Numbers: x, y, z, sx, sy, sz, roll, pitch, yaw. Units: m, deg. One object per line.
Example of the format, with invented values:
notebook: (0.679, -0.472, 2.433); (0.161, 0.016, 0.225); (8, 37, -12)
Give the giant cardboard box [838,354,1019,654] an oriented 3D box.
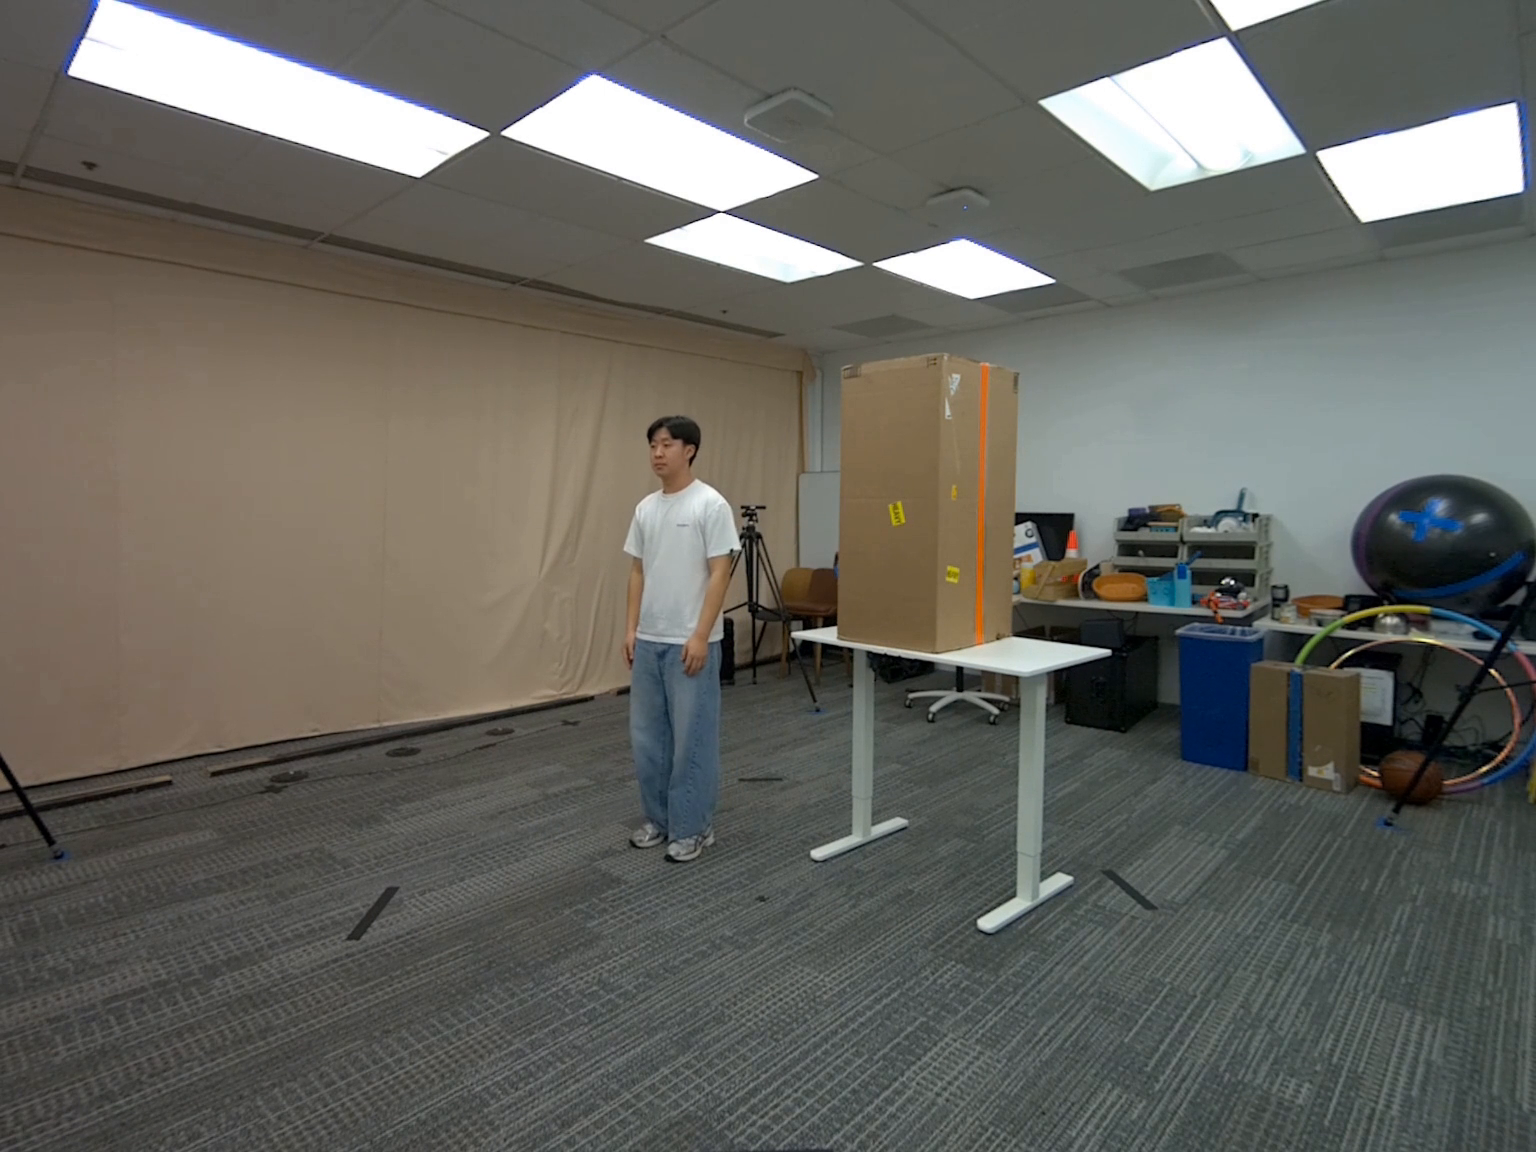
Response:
giant cardboard box: (0.623, -0.266, 3.198); (0.440, 1.024, 0.559); (4, 4, 44)
